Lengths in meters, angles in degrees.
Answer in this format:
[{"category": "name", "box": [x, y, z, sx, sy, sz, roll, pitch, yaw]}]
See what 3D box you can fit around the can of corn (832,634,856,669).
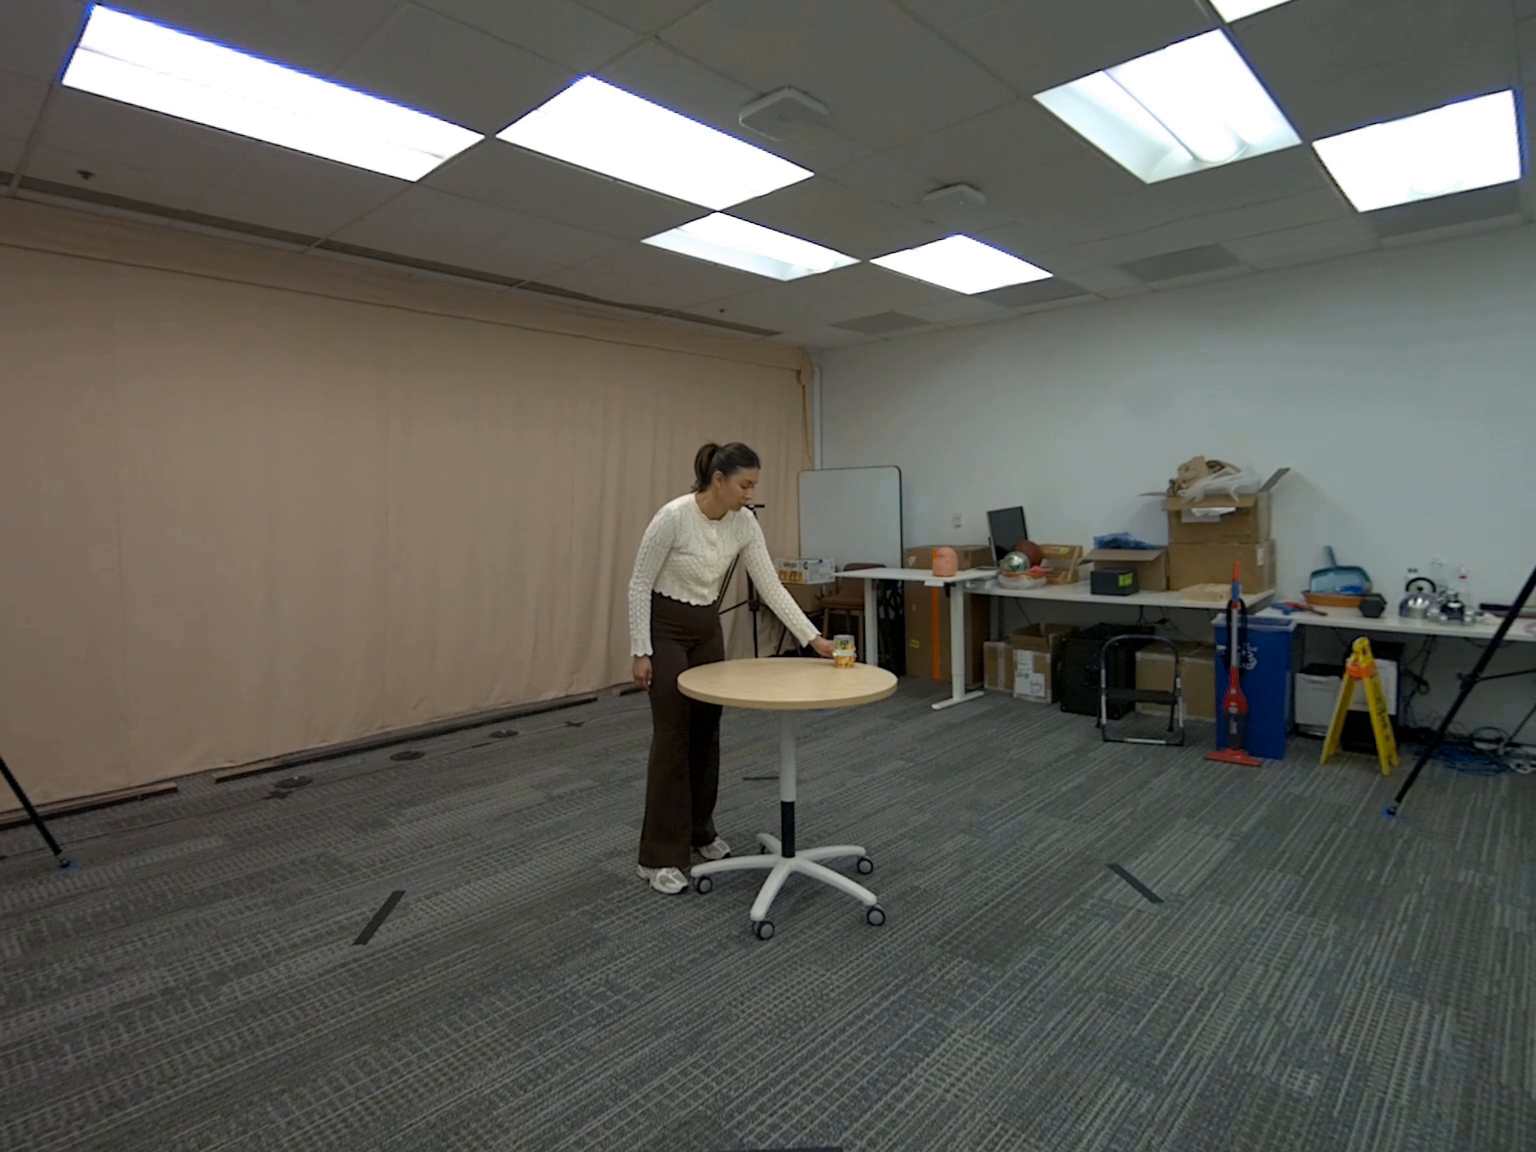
[{"category": "can of corn", "box": [0.289, 0.282, 3.145, 0.074, 0.111, 0.074, -1, 2, -2]}]
